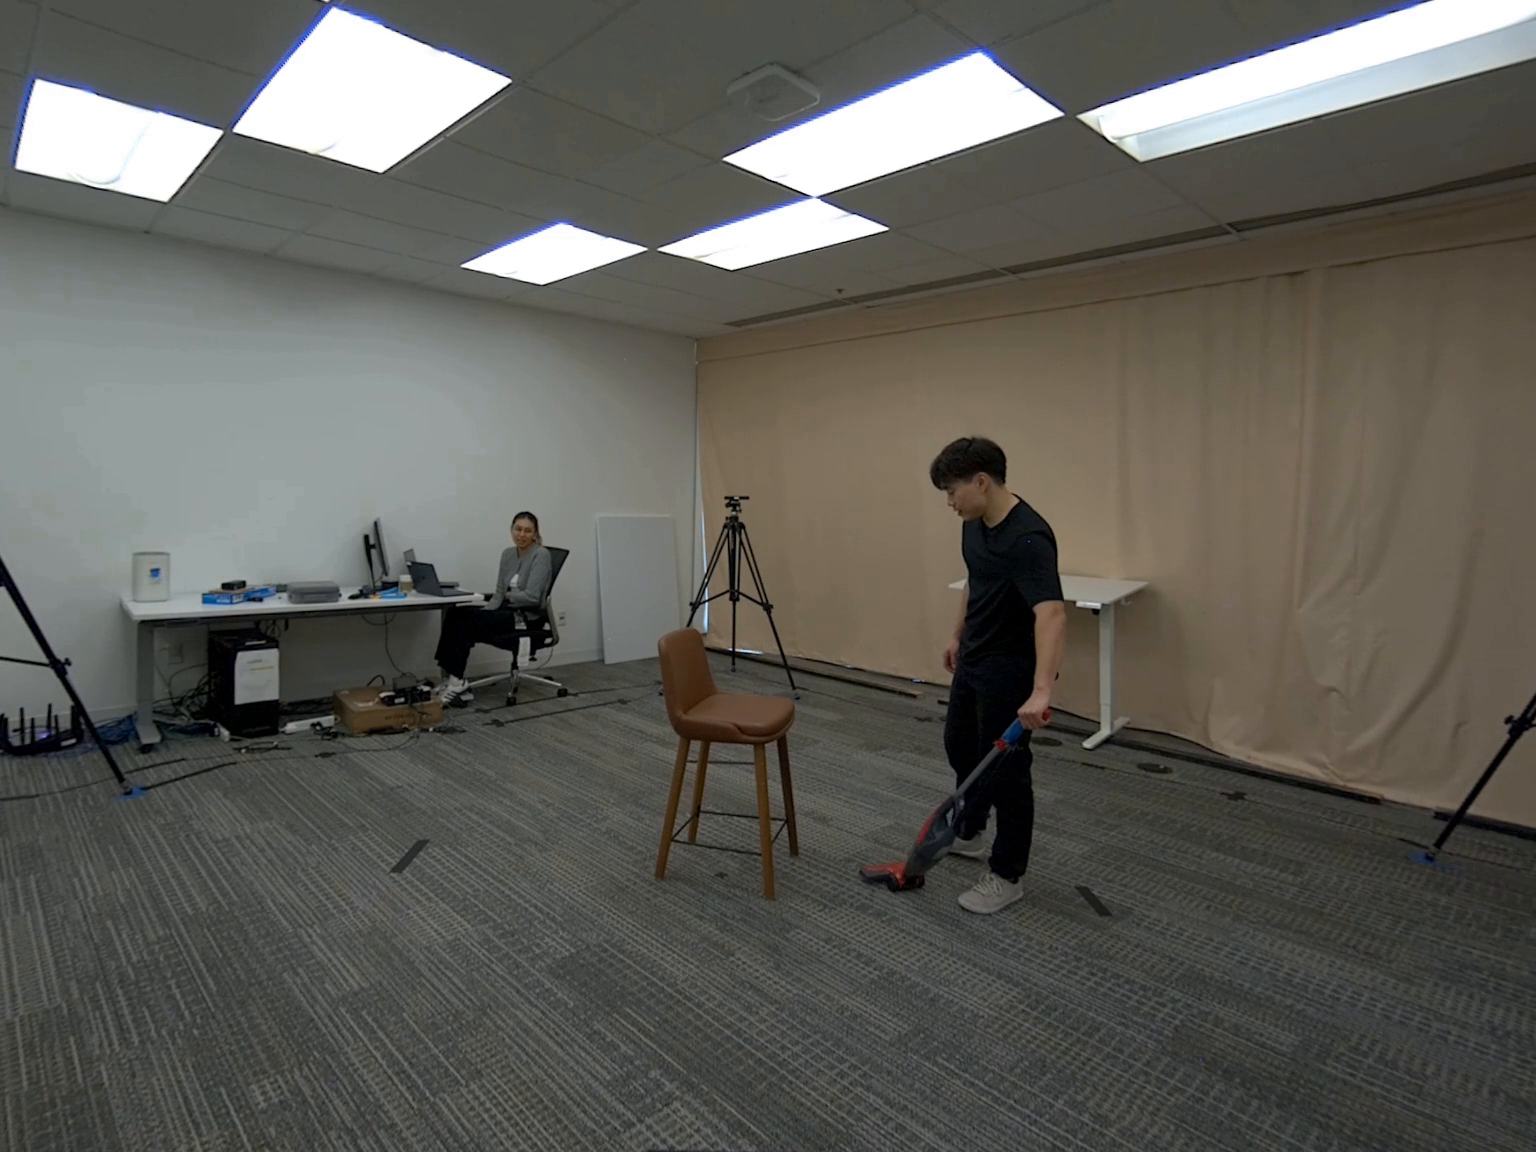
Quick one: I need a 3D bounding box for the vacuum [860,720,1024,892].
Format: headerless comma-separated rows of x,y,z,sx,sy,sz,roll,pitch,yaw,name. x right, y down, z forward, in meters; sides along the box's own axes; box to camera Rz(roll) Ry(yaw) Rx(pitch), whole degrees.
0.619,0.752,2.744,0.248,1.037,0.148,-1,47,-25,vacuum
